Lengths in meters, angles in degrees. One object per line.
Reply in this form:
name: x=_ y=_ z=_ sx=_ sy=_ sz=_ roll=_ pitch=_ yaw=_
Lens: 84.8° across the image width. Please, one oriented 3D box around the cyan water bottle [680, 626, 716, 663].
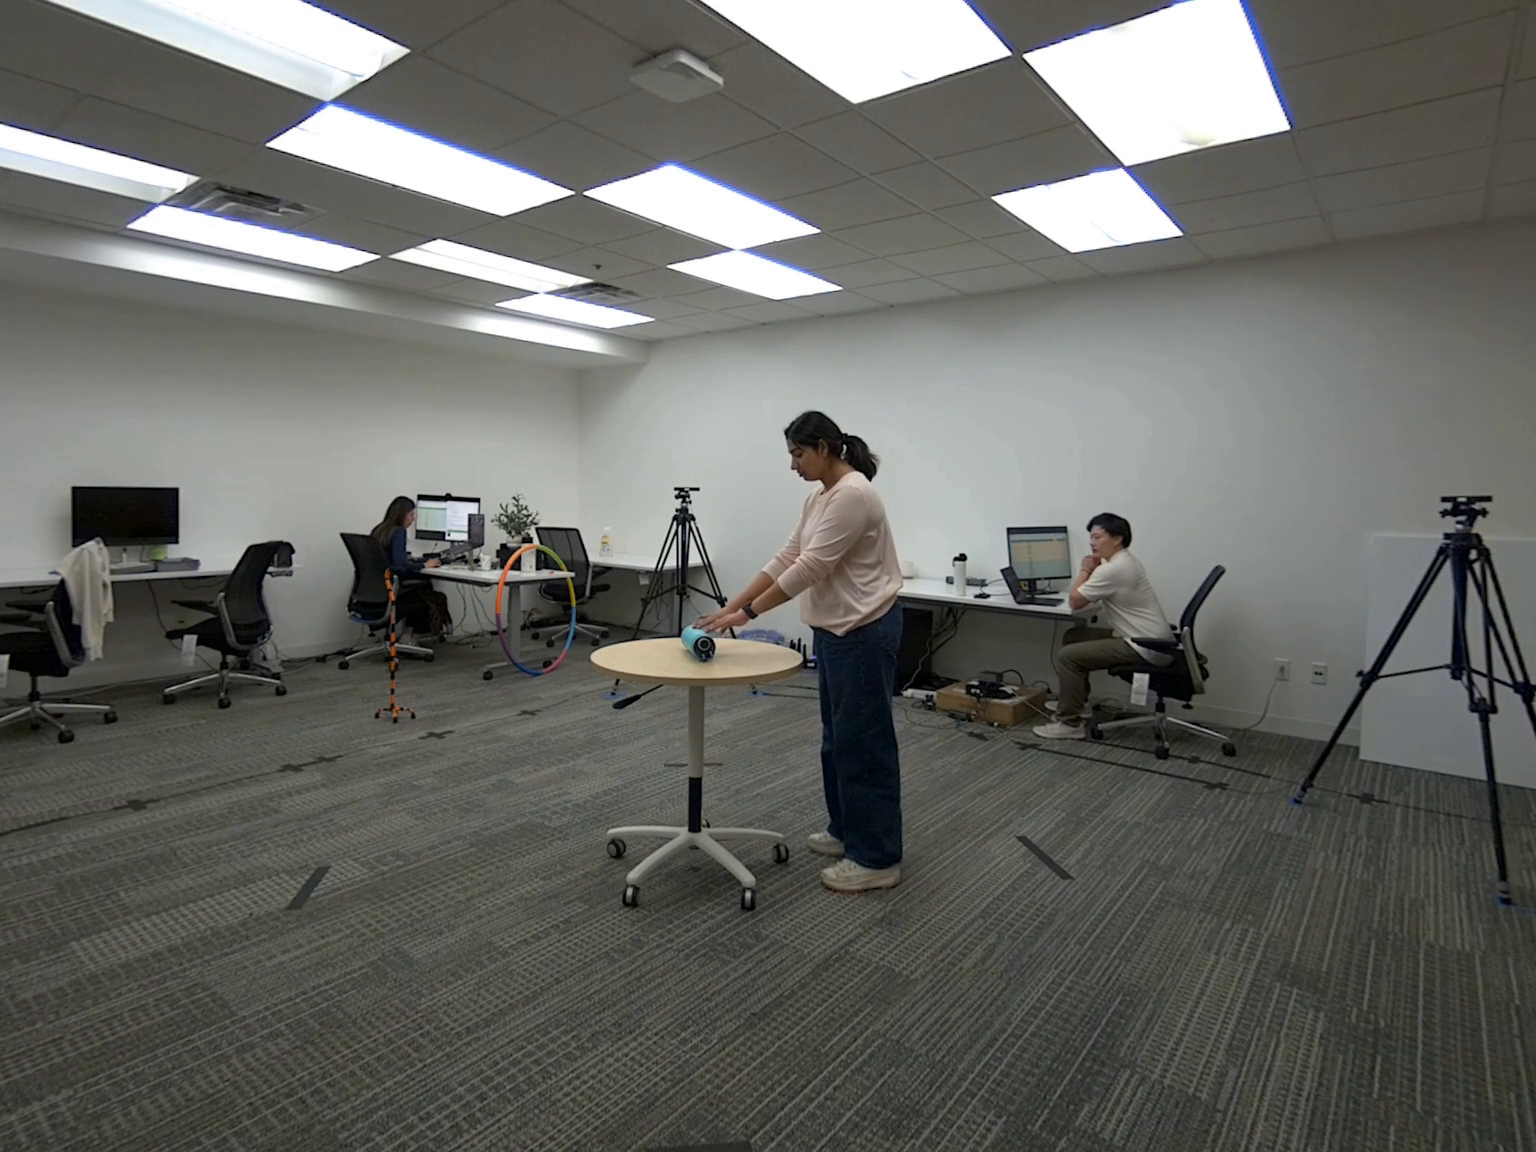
cyan water bottle: x=-0.261 y=0.240 z=3.068 sx=0.091 sy=0.092 sz=0.288 roll=0 pitch=5 yaw=-14
